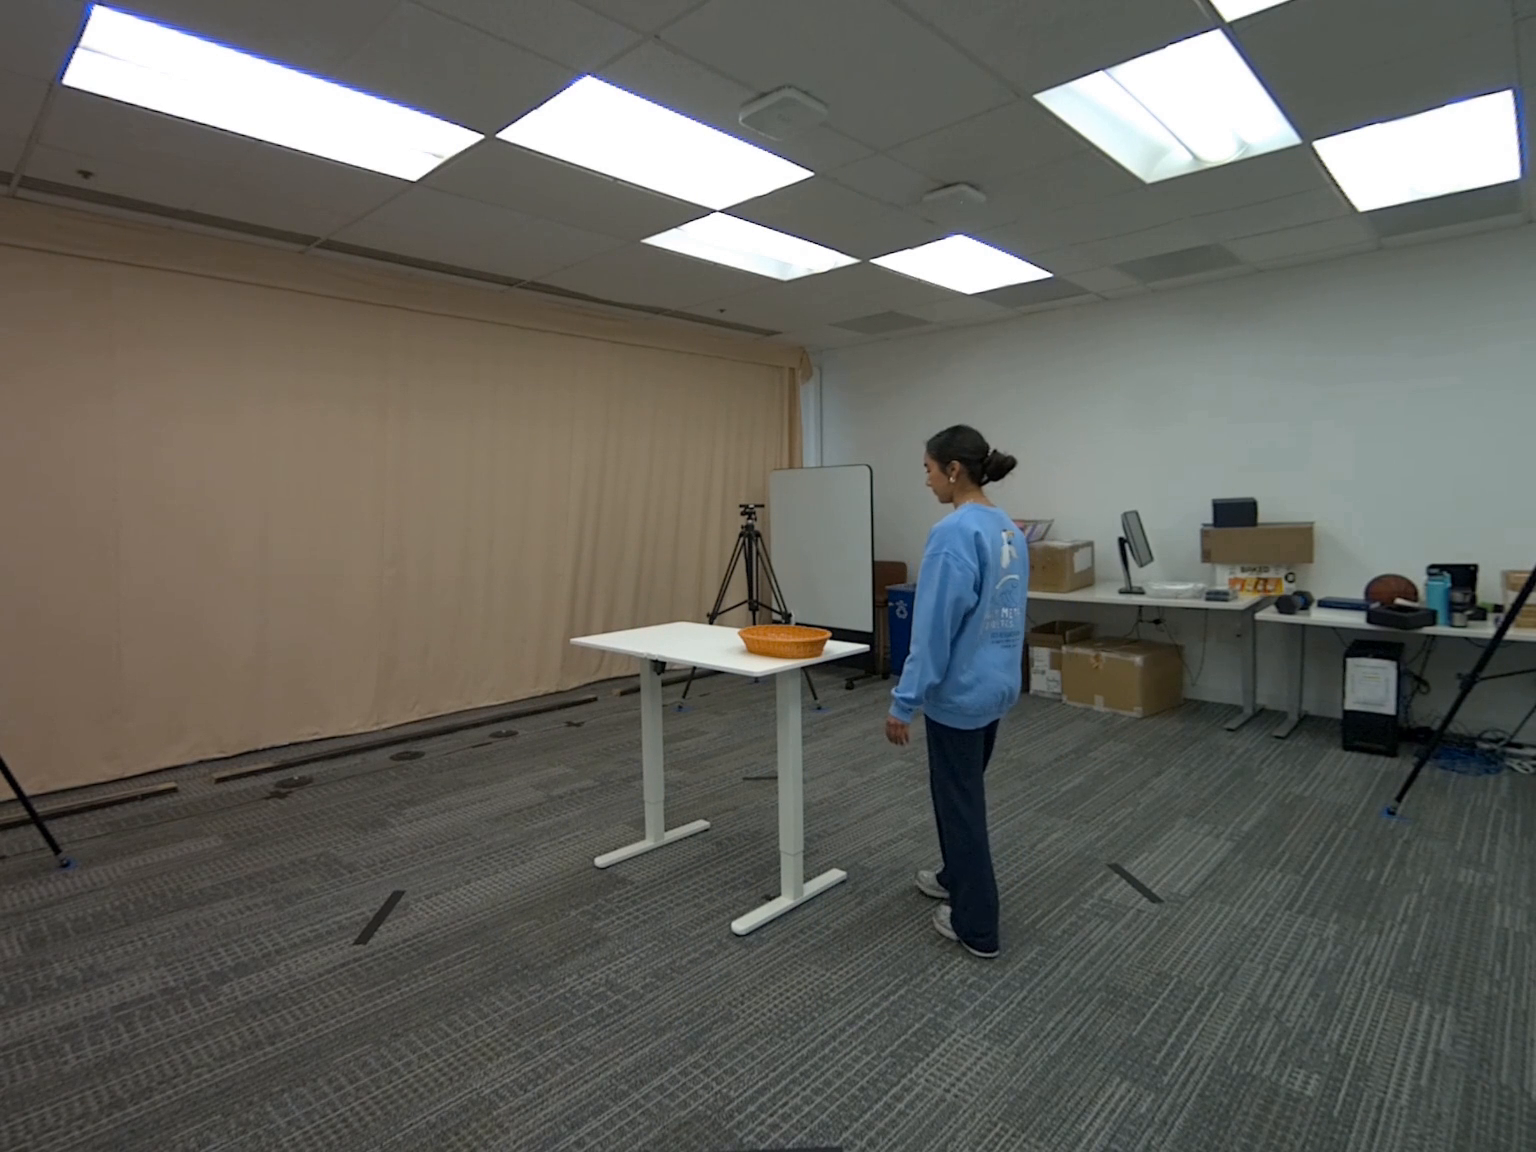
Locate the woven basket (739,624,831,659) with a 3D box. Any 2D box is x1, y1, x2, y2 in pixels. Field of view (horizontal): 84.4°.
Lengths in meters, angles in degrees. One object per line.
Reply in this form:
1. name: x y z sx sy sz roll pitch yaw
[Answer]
1. woven basket: 0.062 0.235 2.897 0.245 0.073 0.362 -9 10 -44
